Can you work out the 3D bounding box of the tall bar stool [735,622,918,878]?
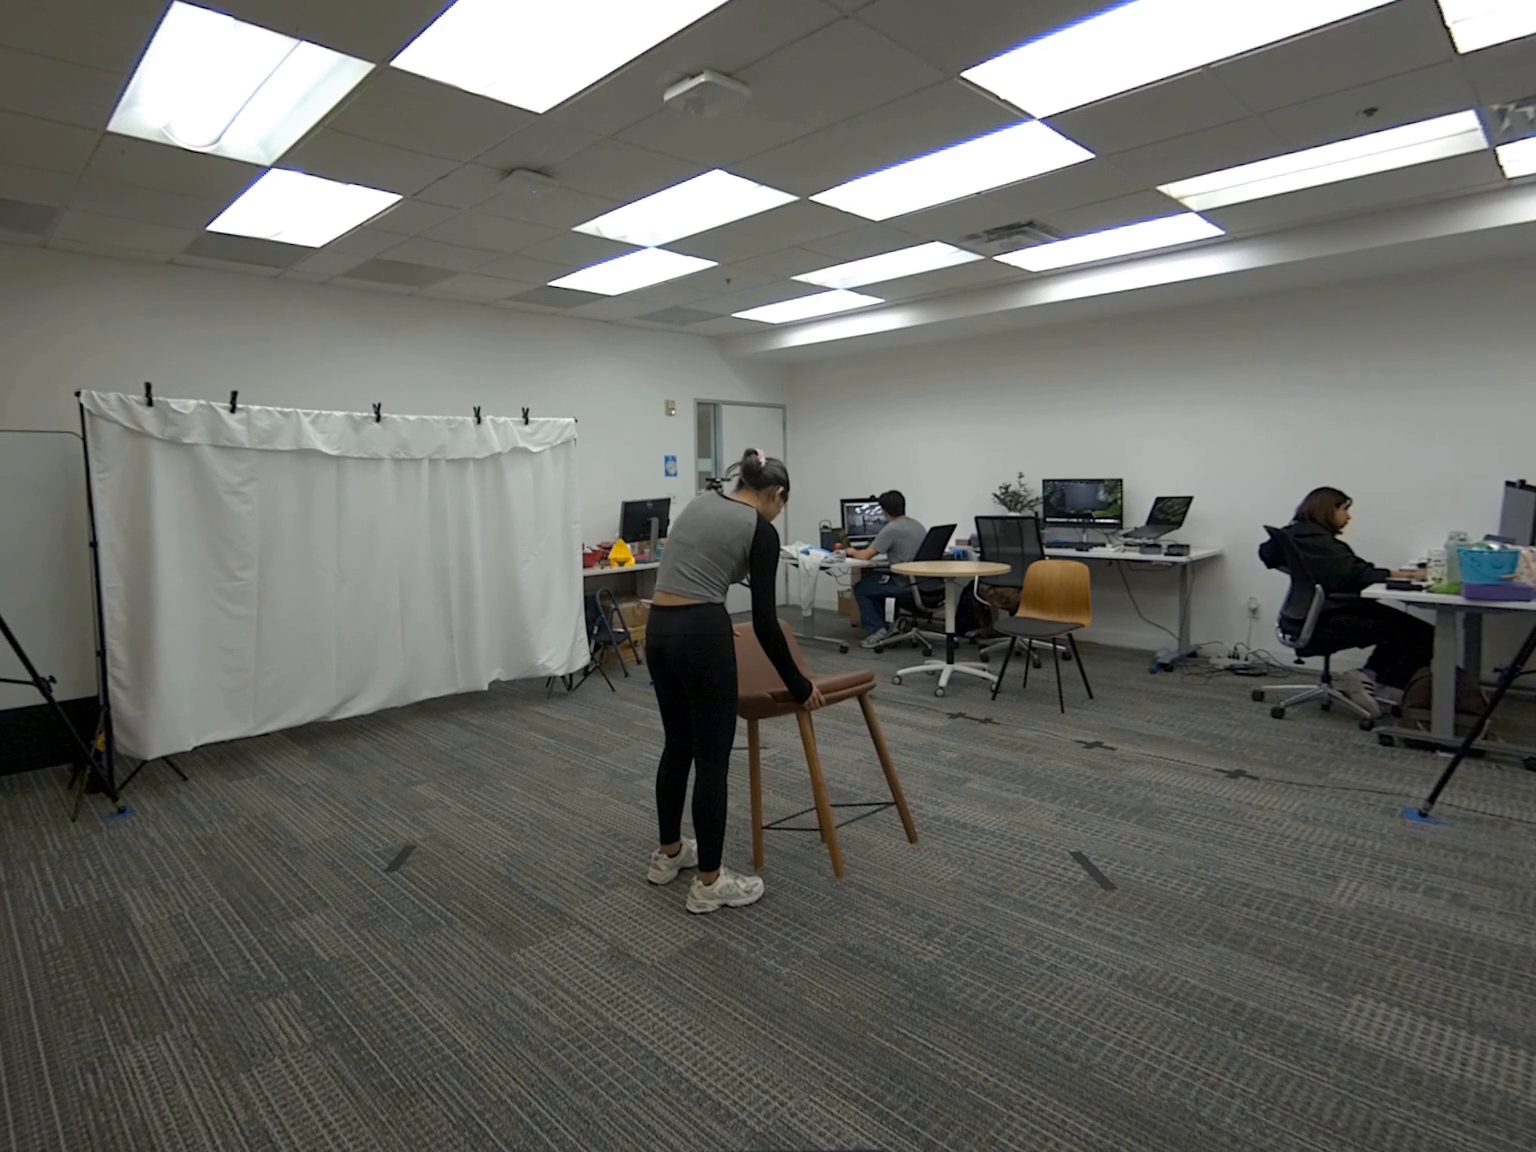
[{"bbox_3d":[0.145,0.564,3.088,0.444,0.900,0.475,-5,-13,-41],"label":"tall bar stool"}]
